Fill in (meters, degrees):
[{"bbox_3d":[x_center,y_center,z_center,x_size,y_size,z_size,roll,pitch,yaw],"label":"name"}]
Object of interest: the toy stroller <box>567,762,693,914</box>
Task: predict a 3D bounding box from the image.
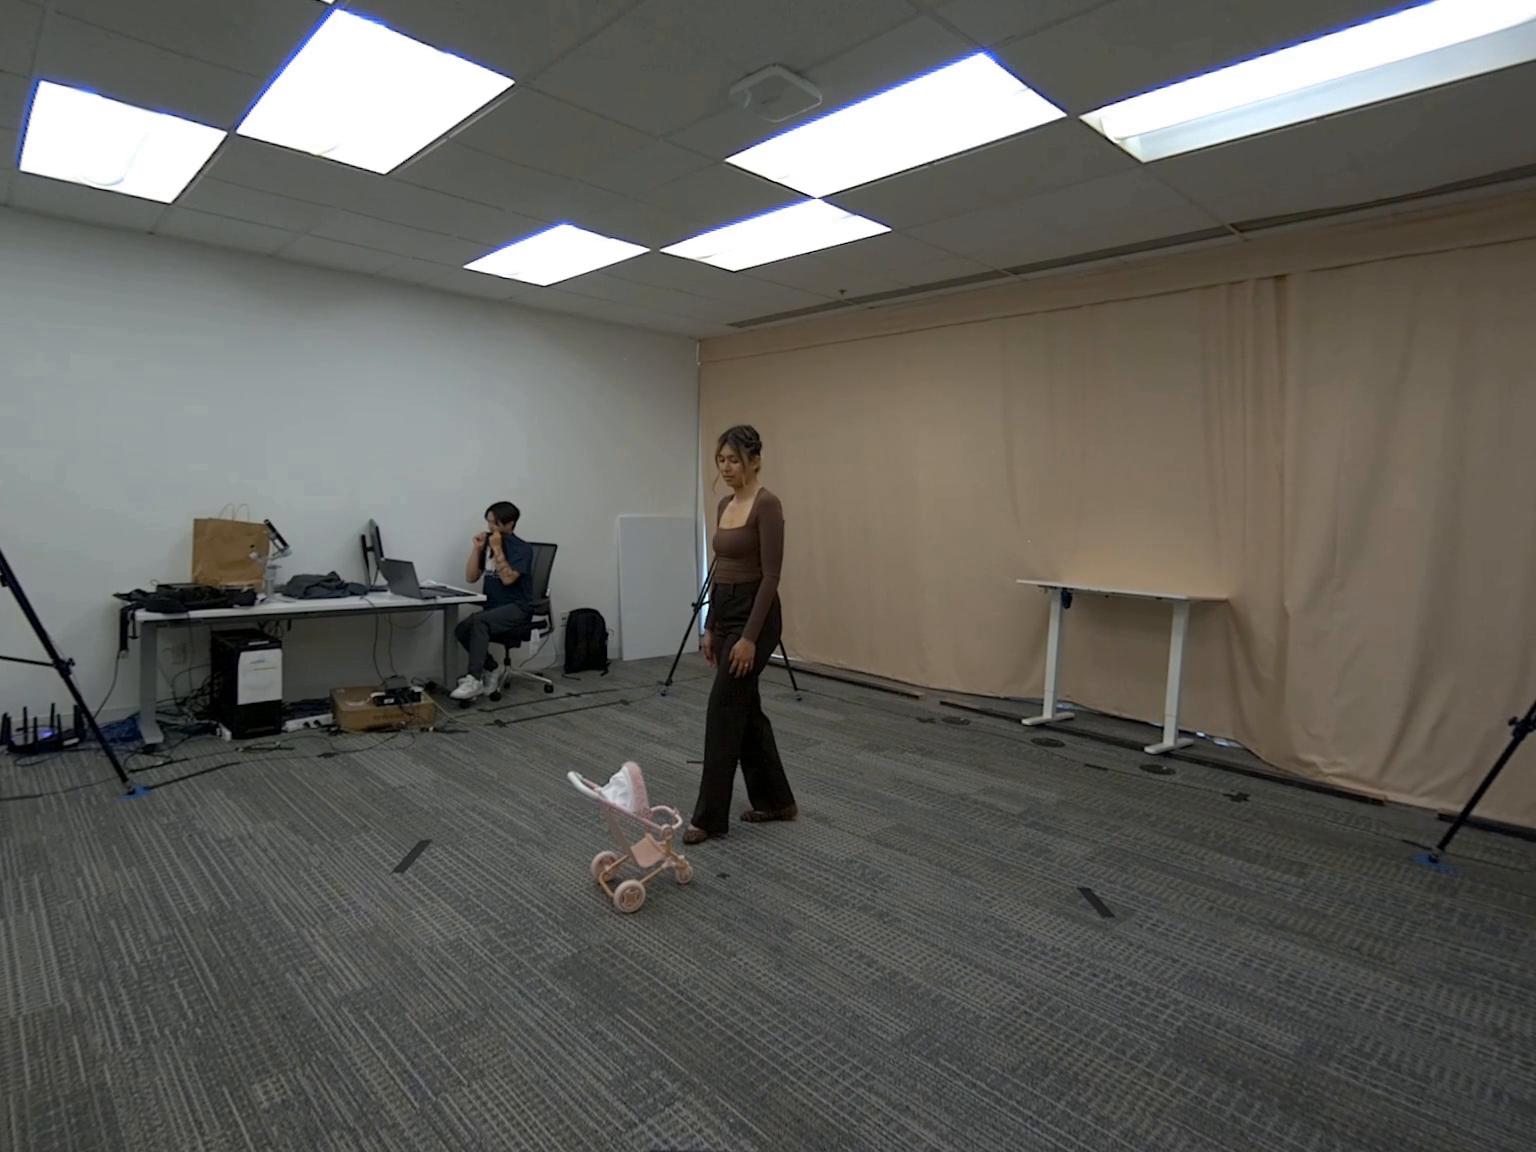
[{"bbox_3d":[-0.470,0.887,2.937,0.337,0.530,0.287,-17,11,-23],"label":"toy stroller"}]
